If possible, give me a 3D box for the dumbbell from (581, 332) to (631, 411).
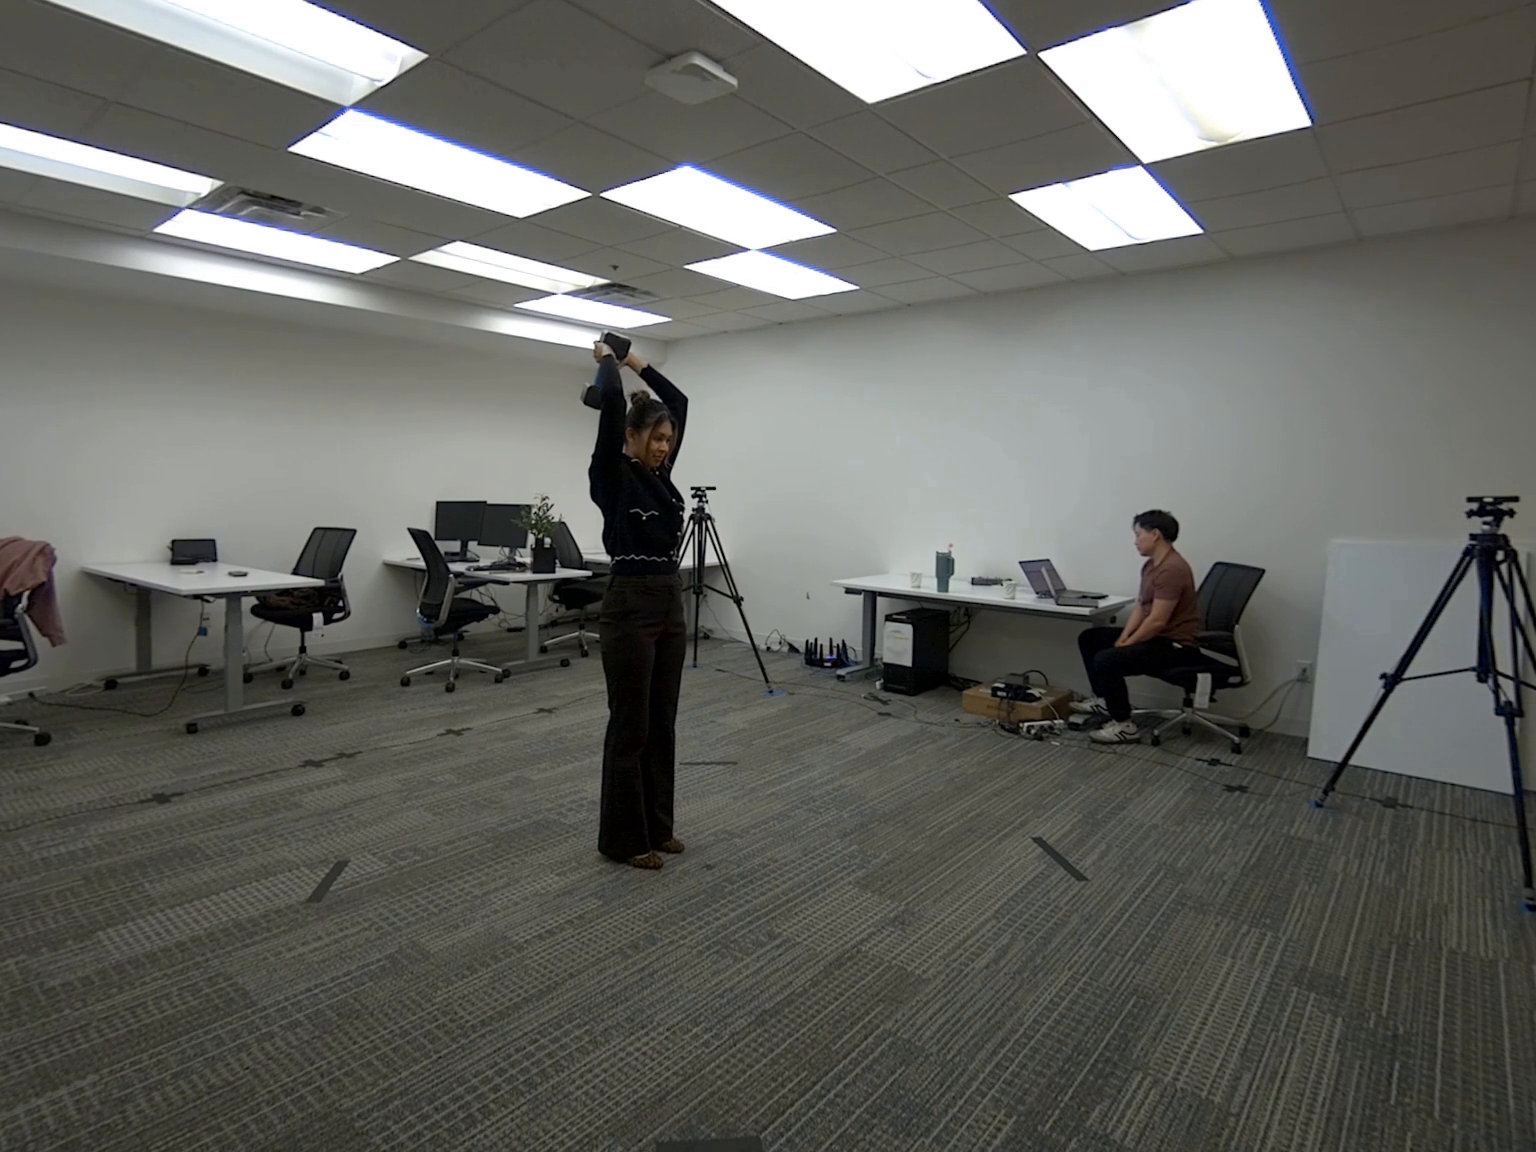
[{"bbox_3d":[-0.625,-0.780,3.239,0.124,0.291,0.109,19,15,3],"label":"dumbbell"}]
